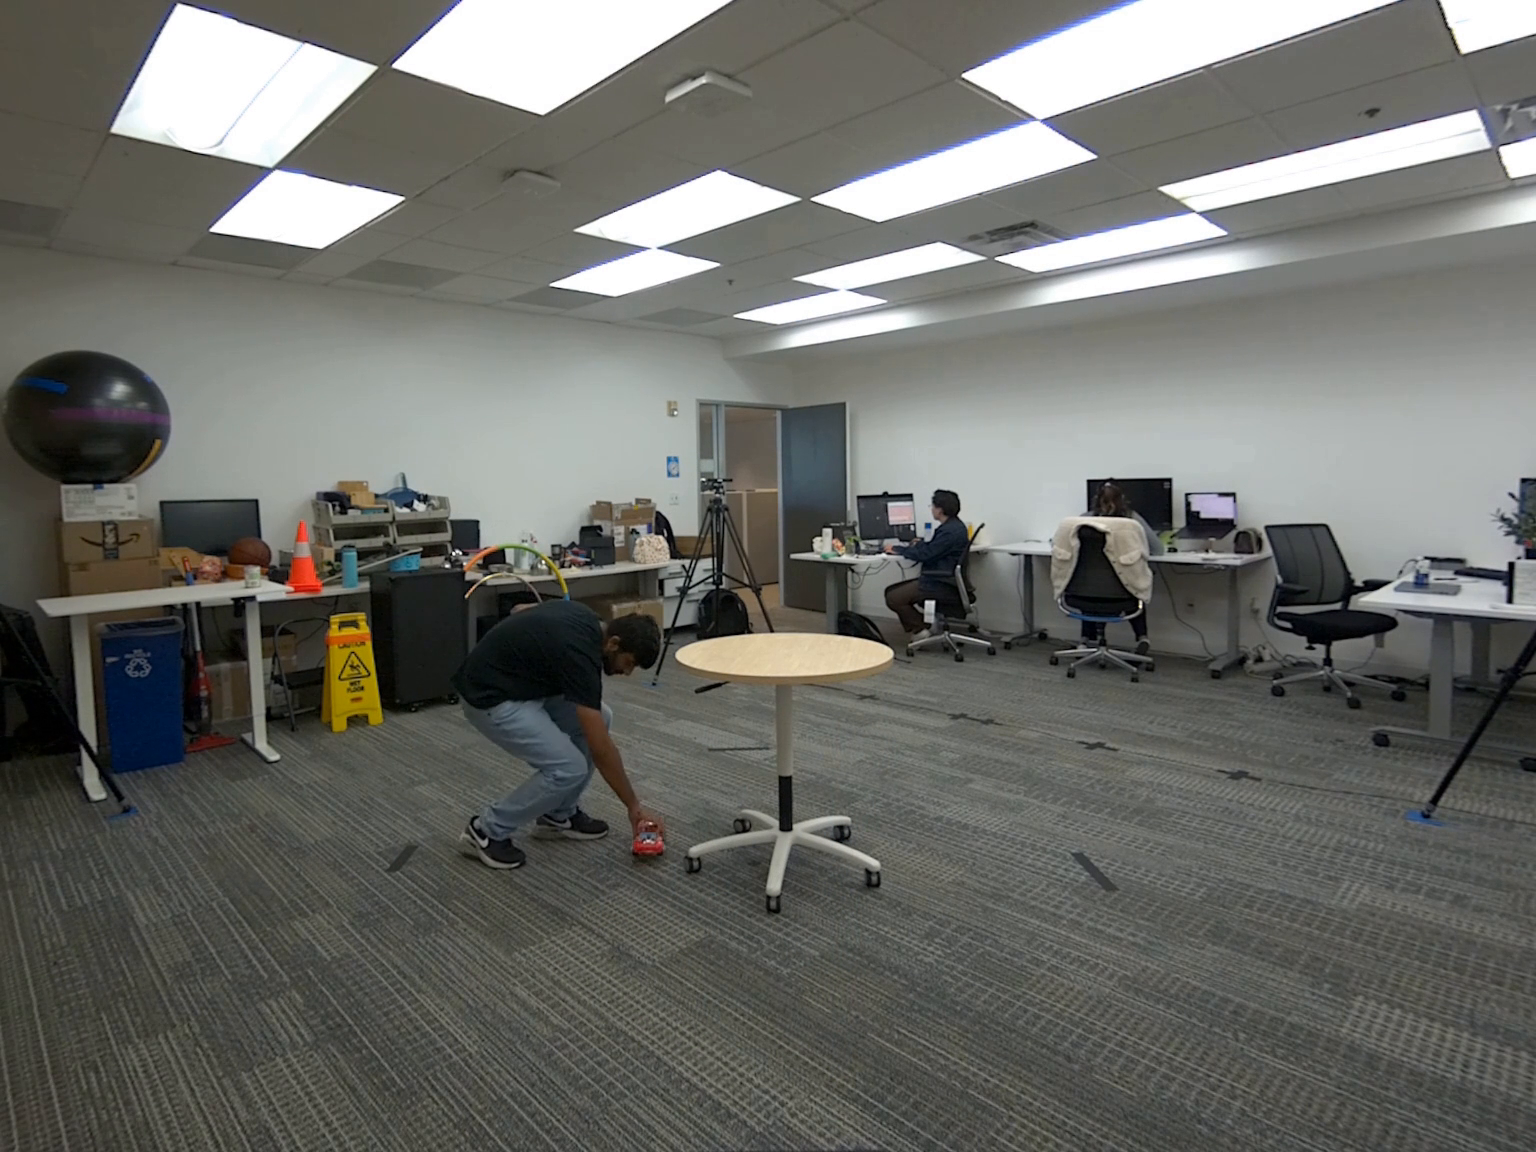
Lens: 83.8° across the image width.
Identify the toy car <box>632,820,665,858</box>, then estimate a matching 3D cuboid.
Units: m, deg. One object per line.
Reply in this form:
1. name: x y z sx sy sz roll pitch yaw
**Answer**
1. toy car: -0.449 0.971 3.210 0.130 0.082 0.258 -1 16 -1
